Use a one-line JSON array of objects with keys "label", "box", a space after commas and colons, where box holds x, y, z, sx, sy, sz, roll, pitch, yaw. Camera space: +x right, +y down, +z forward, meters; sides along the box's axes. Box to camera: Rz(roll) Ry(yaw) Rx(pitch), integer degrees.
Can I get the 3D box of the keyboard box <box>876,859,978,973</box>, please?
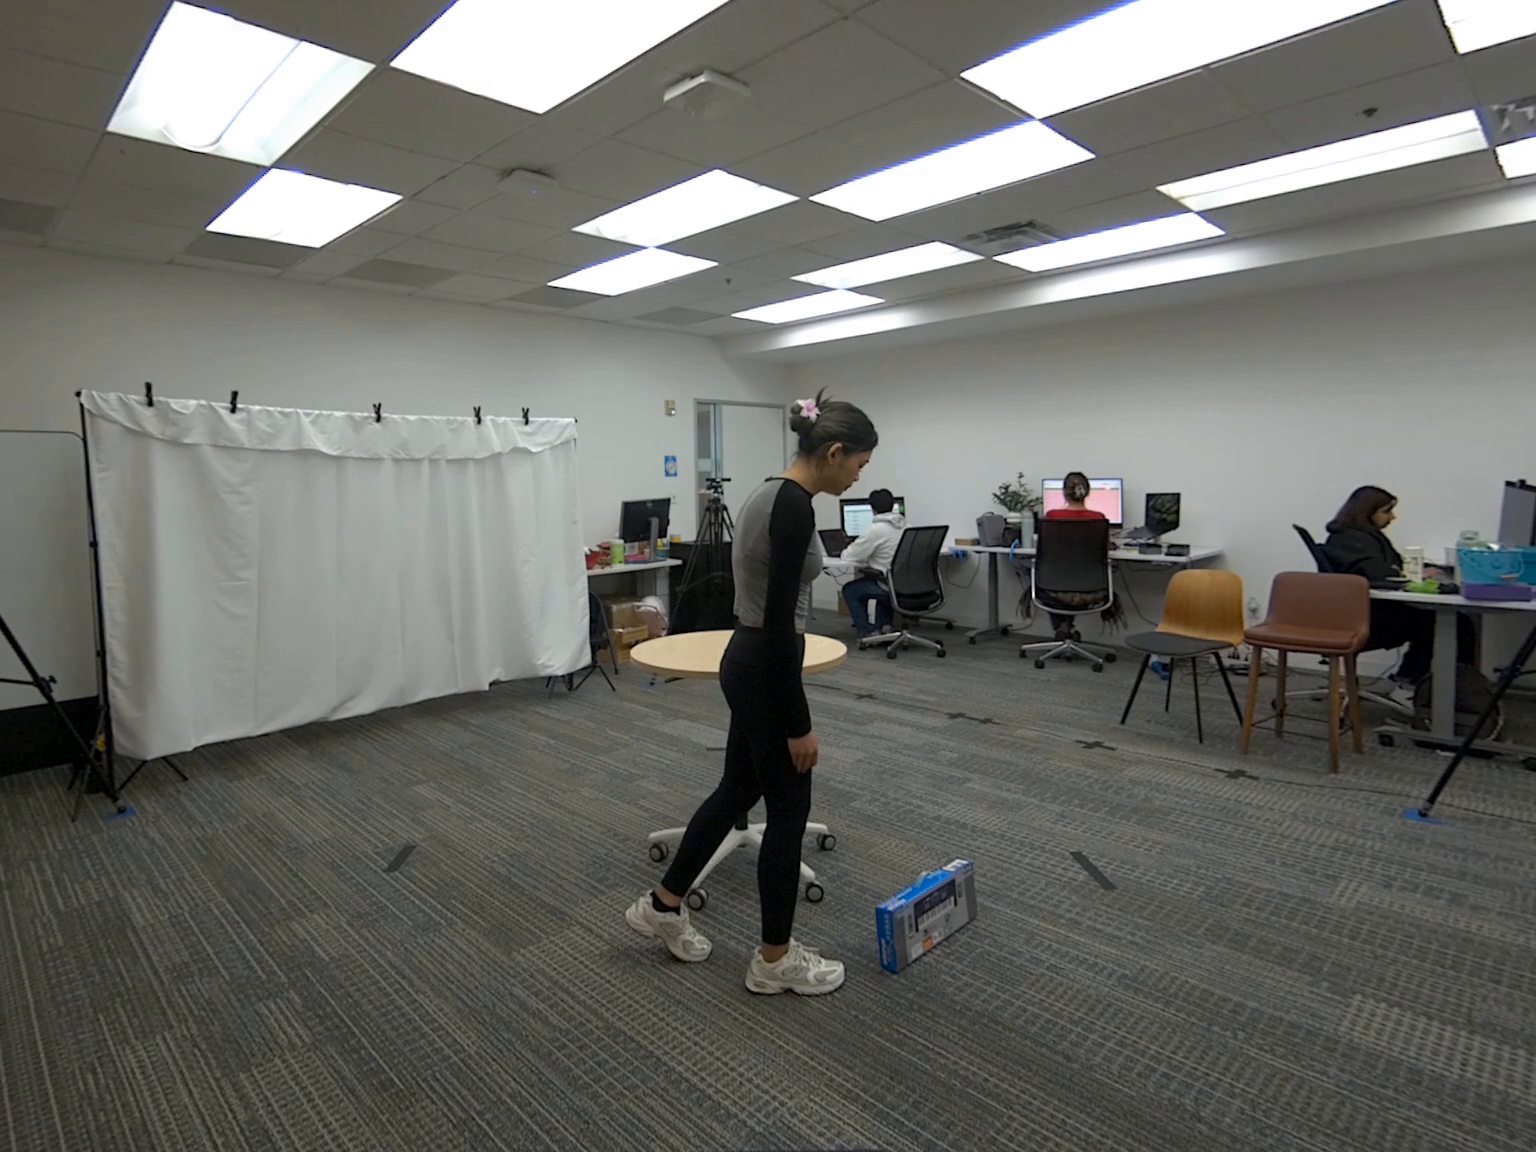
[{"label": "keyboard box", "box": [0.489, 1.010, 2.562, 0.060, 0.176, 0.425, -6, 1, 45]}]
